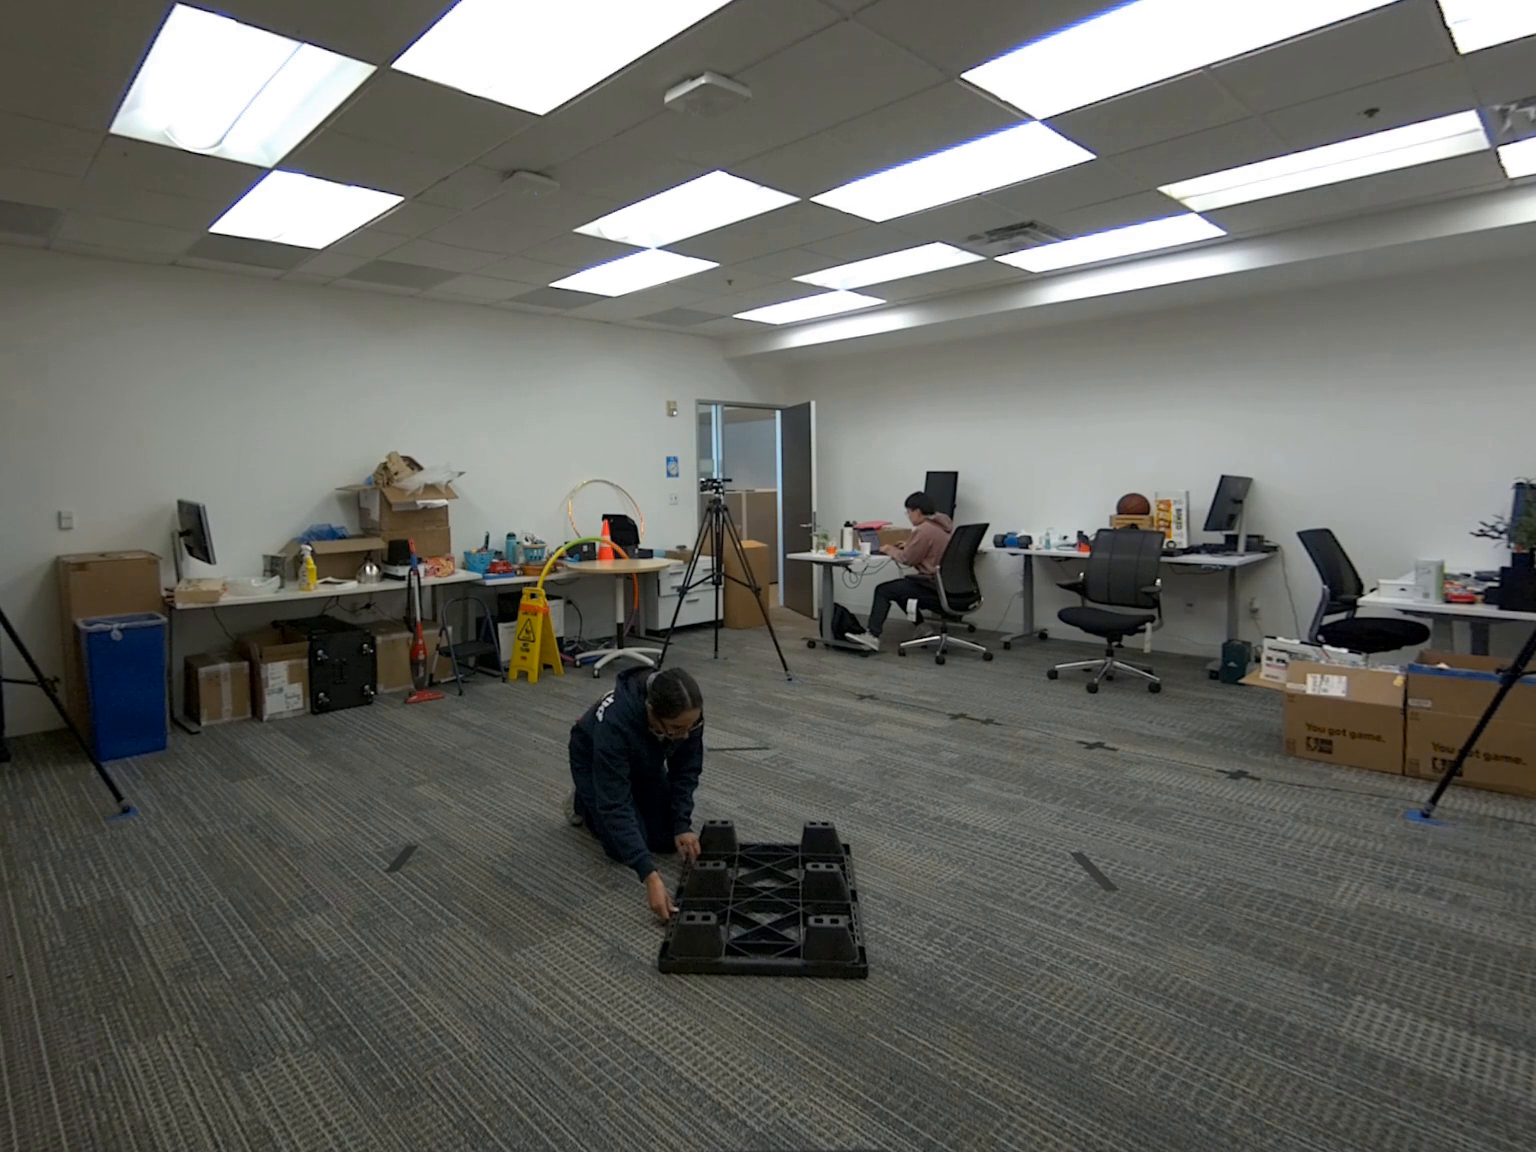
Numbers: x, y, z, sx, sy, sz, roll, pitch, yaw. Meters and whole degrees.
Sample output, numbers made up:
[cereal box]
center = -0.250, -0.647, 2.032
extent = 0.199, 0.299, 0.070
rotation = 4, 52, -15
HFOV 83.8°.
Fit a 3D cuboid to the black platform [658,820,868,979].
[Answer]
[black platform]
center = -0.010, 1.014, 2.791
extent = 0.607, 0.142, 0.807
rotation = -1, 7, 2
